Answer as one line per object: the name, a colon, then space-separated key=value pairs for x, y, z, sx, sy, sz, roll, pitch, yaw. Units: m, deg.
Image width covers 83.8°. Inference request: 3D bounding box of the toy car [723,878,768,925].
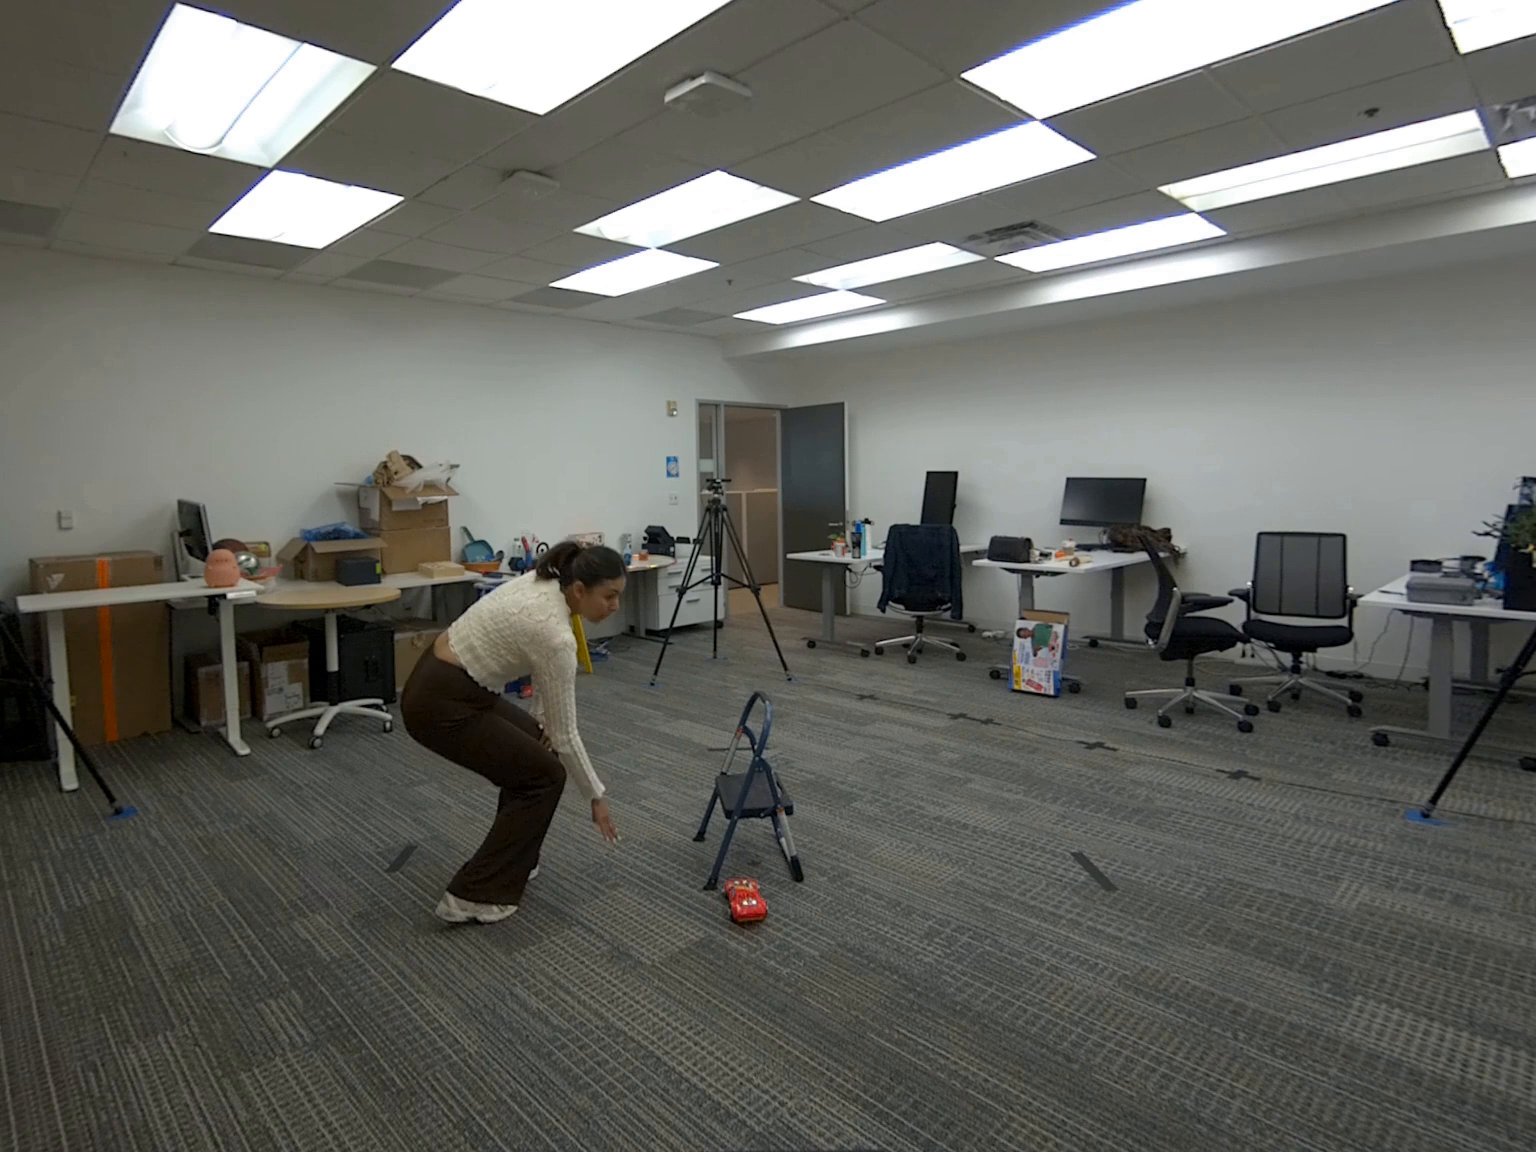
toy car: x=-0.079 y=1.046 z=2.759 sx=0.129 sy=0.084 sz=0.255 roll=-2 pitch=-4 yaw=-9
